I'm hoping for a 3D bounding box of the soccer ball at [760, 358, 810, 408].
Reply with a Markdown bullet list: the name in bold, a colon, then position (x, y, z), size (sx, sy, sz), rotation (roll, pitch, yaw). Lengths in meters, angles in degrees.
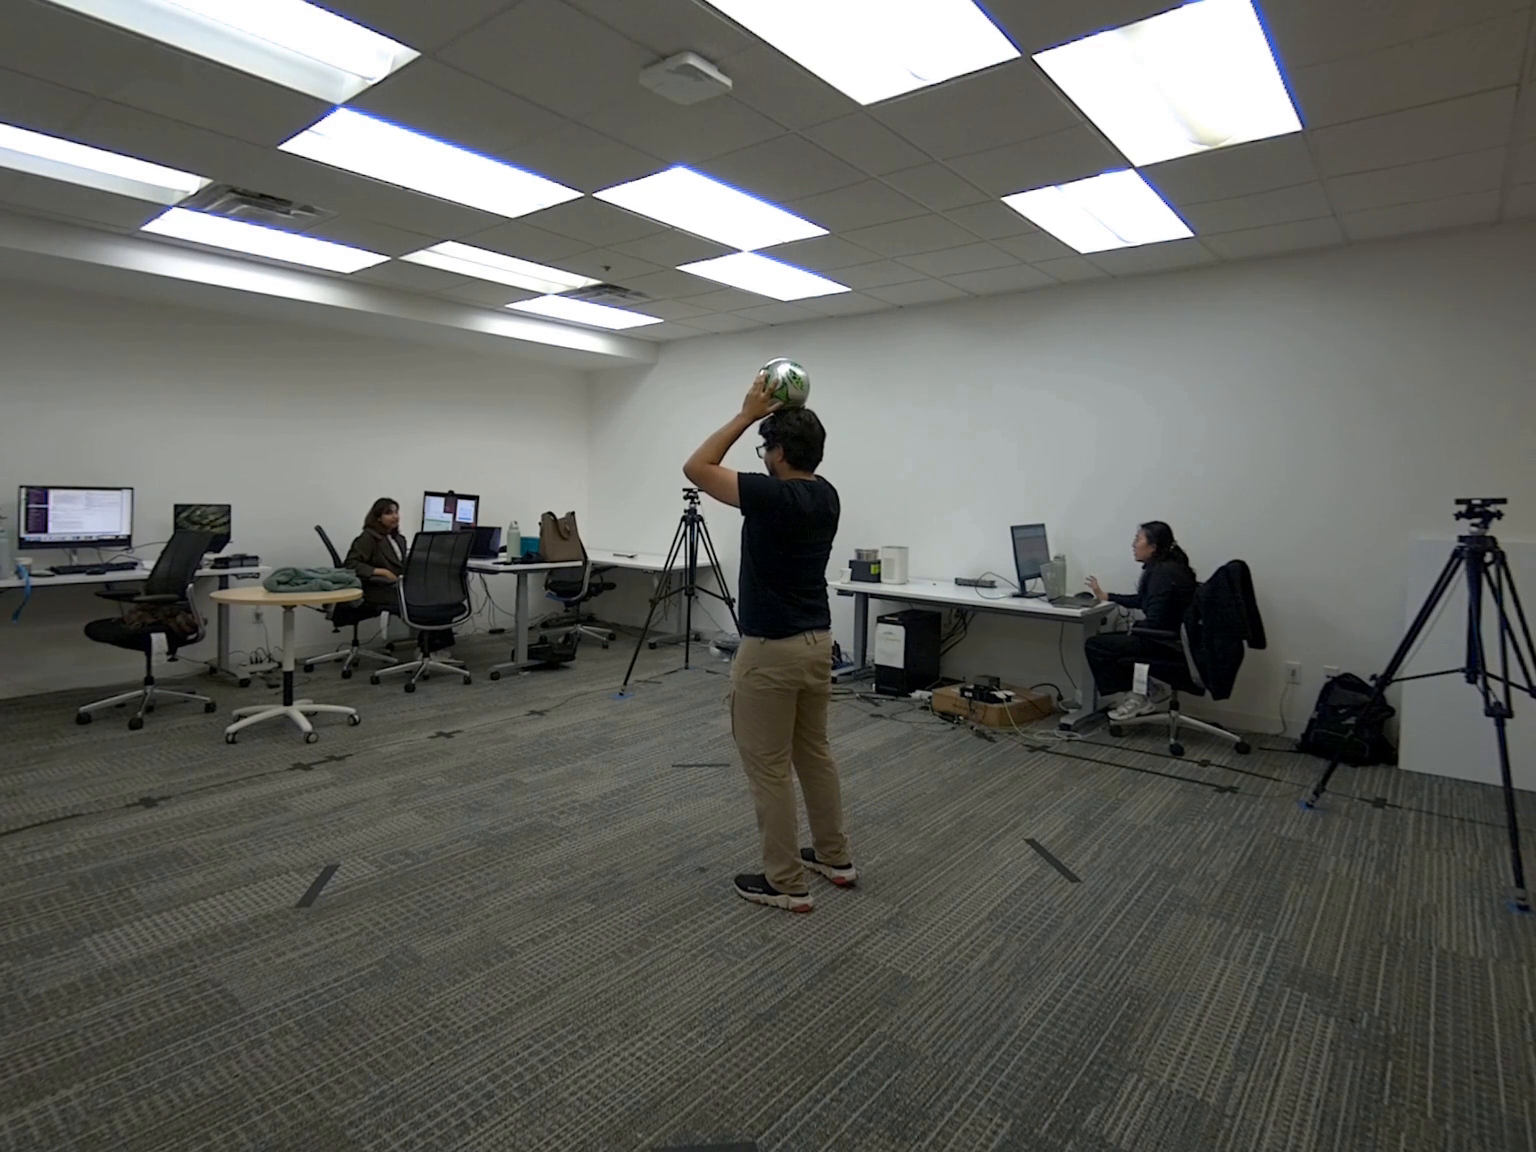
- **soccer ball**: position (0.041, -0.637, 2.863), size (0.187, 0.187, 0.188), rotation (1, 4, -2)
